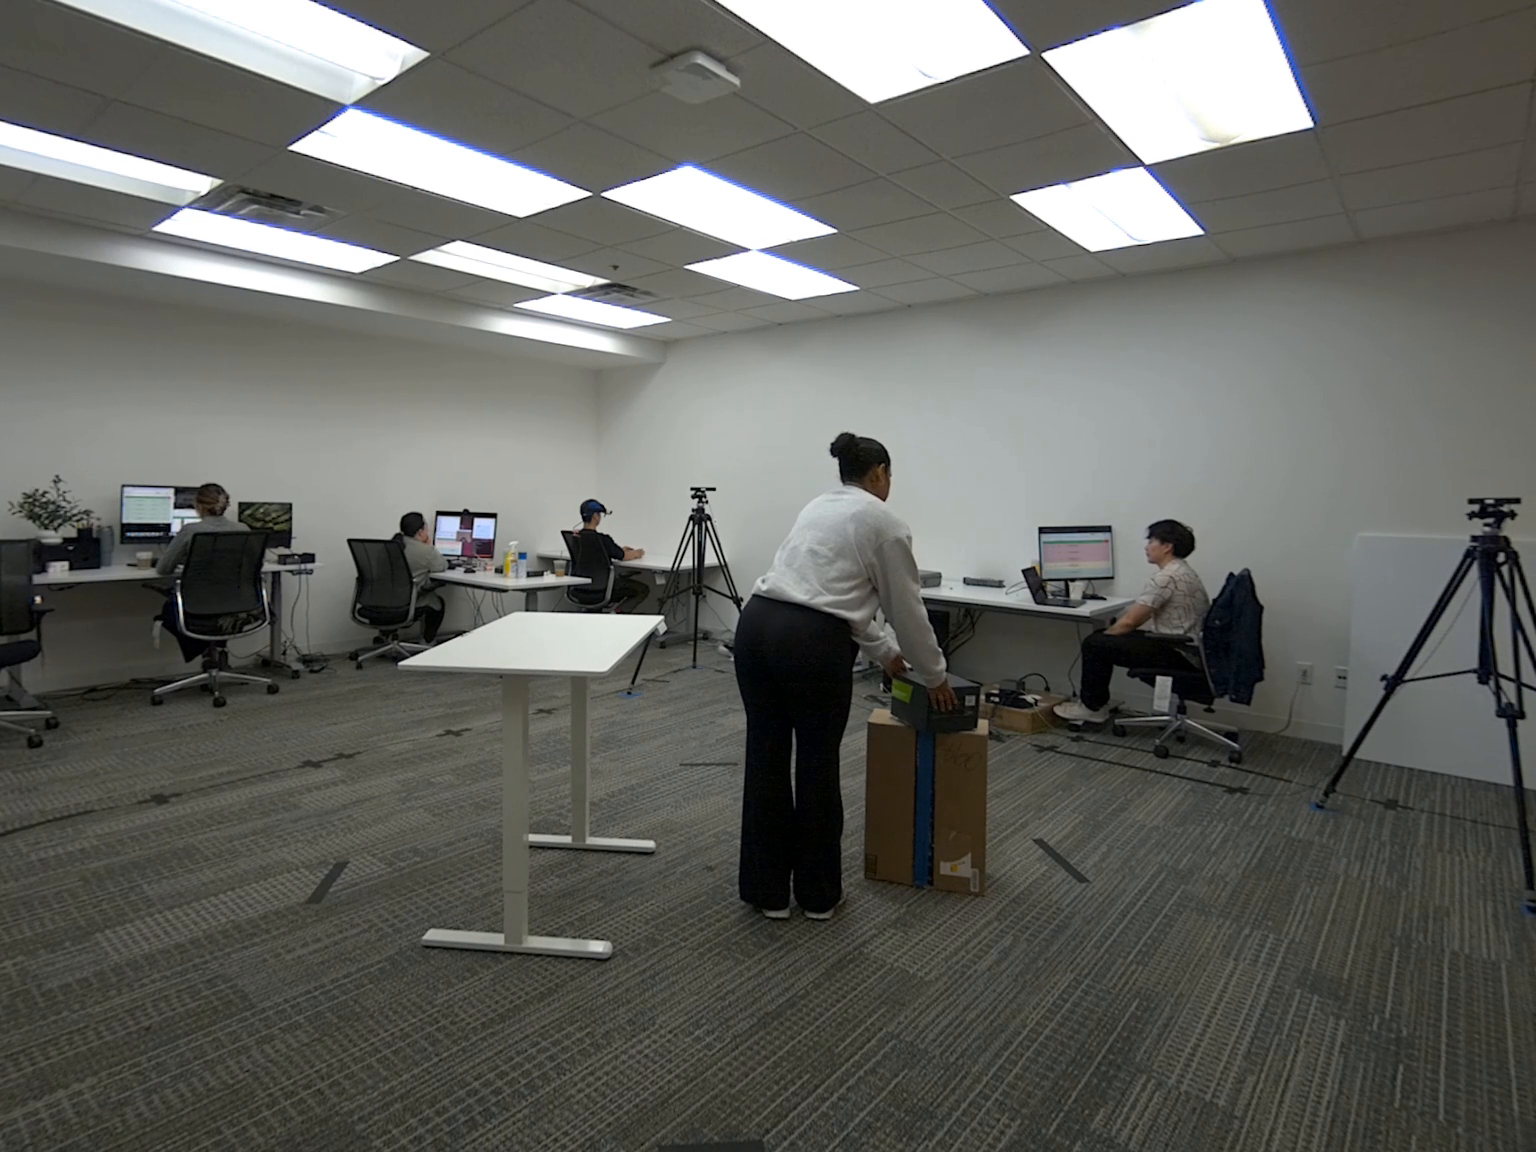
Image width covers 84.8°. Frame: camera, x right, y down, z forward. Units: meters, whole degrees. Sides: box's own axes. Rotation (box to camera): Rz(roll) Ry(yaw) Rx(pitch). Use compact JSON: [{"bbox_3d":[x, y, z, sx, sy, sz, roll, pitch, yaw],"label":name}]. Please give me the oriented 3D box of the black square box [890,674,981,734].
[{"bbox_3d":[0.577,0.428,3.028,0.212,0.155,0.234,0,8,-23],"label":"black square box"}]
